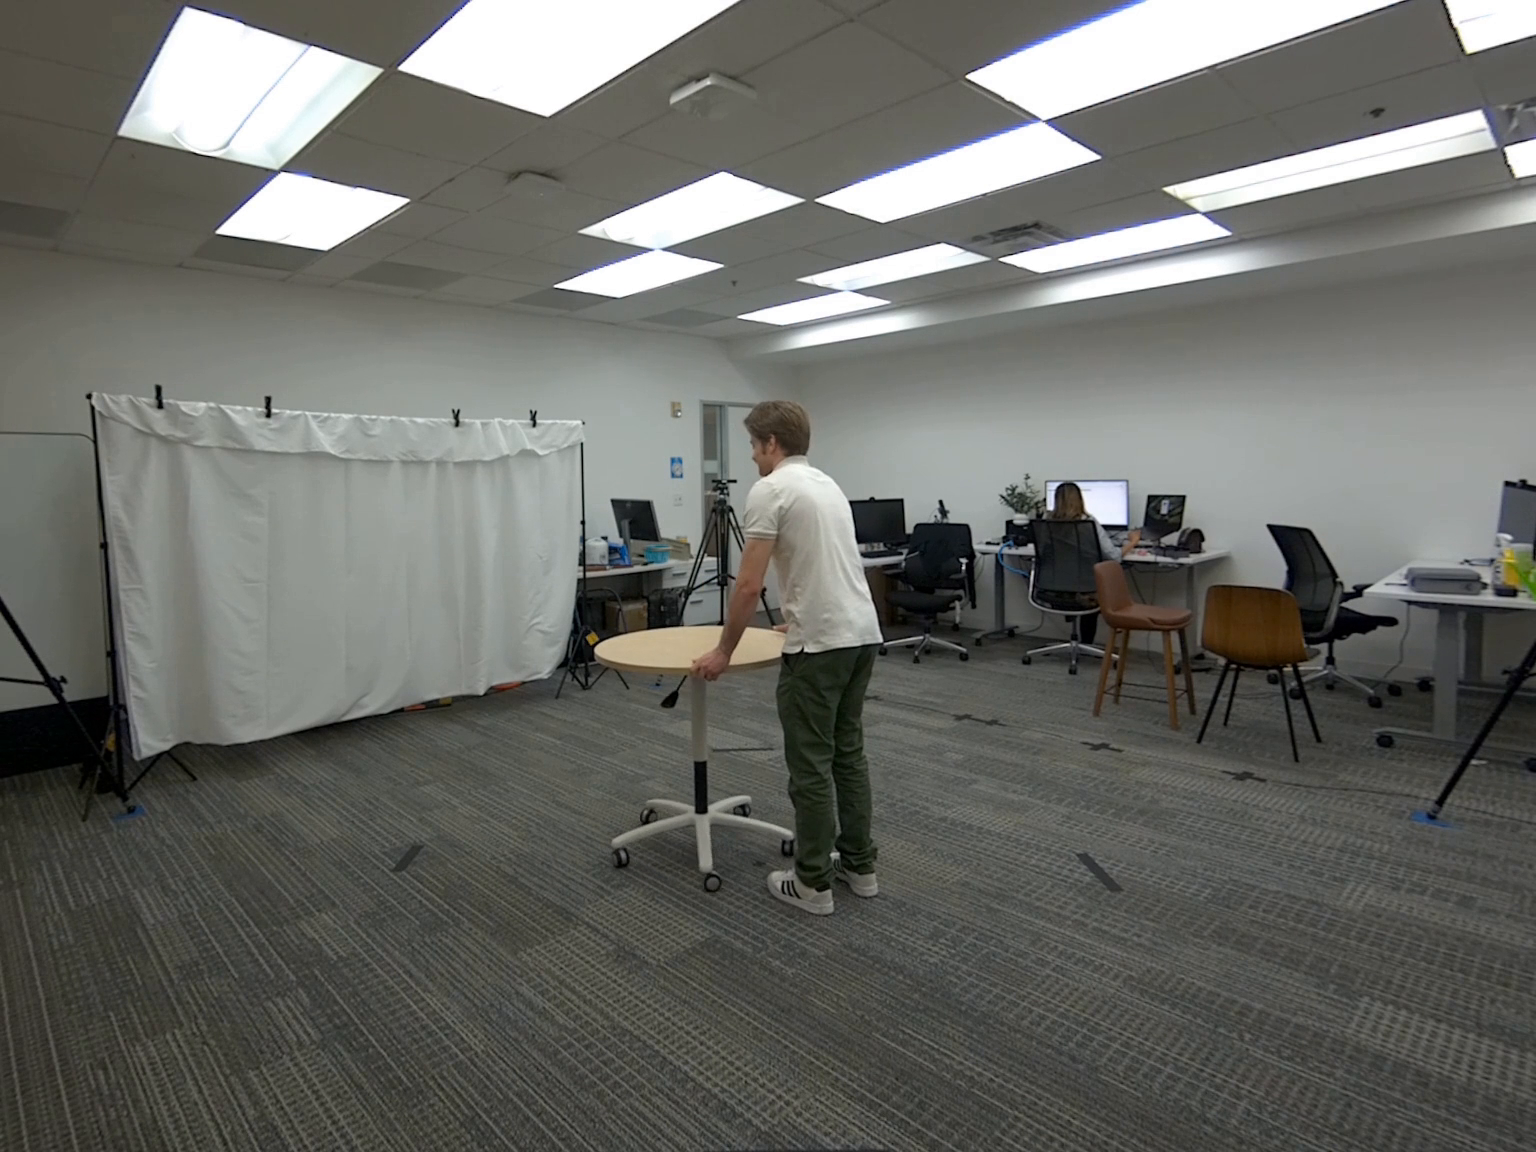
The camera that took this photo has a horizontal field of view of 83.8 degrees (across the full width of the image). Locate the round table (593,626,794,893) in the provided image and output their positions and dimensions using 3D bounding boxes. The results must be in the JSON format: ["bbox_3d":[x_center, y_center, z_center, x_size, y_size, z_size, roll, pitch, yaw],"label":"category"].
[{"bbox_3d":[-0.255,0.648,3.235,0.763,0.791,0.768,-1,5,-2],"label":"round table"}]
